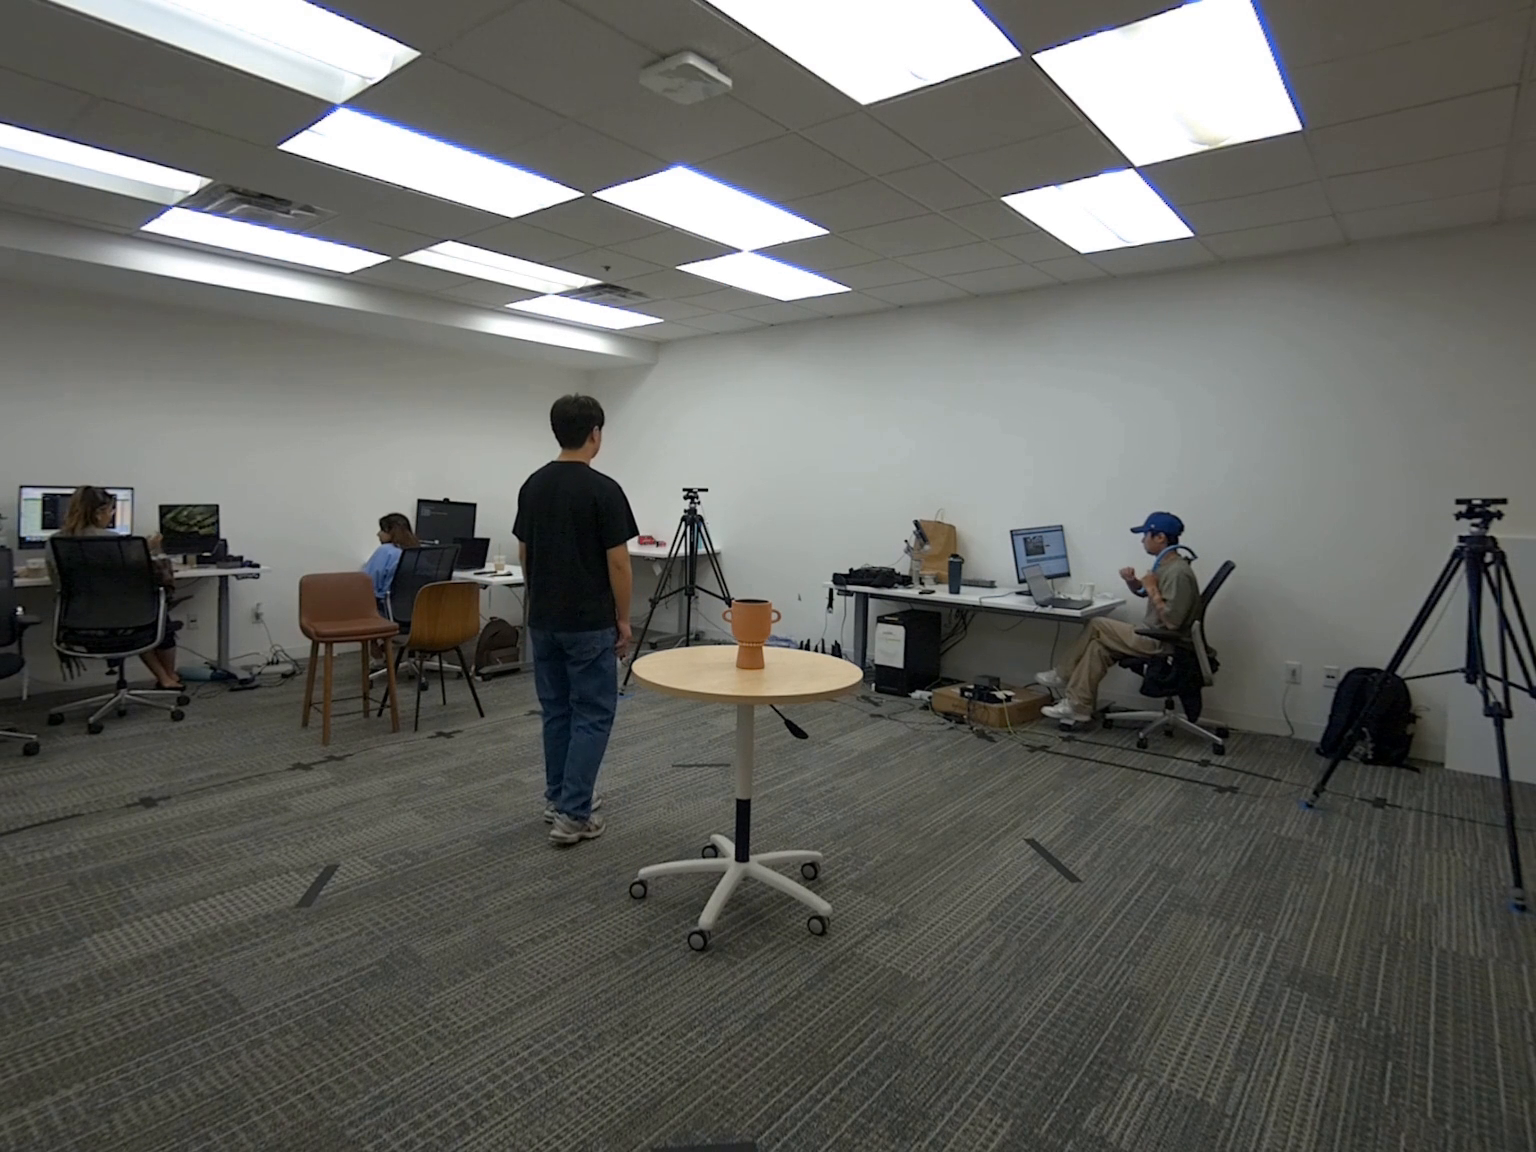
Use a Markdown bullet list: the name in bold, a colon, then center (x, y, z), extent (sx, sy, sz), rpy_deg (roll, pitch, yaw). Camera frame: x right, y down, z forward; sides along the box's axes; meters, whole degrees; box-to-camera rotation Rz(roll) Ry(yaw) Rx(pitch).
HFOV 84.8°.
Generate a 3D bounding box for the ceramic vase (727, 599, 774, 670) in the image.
- **ceramic vase**: center (-0.062, 0.191, 2.844), extent (0.163, 0.219, 0.131), rpy_deg (4, 5, 30)
